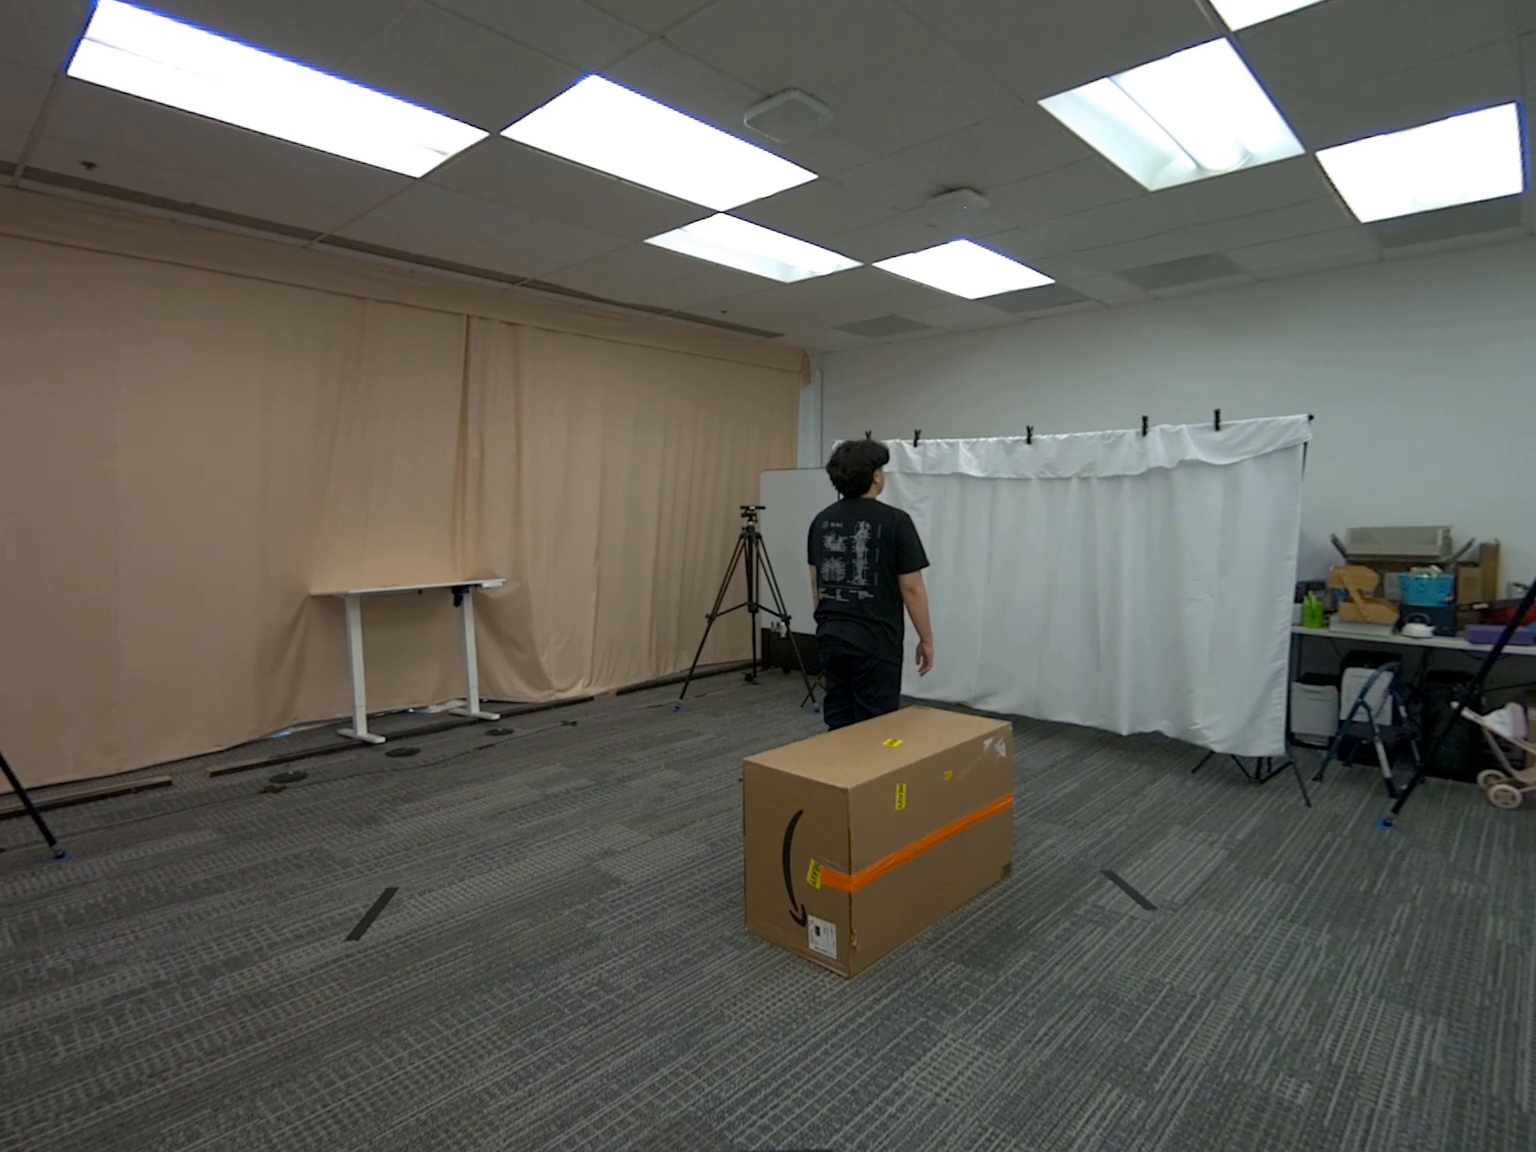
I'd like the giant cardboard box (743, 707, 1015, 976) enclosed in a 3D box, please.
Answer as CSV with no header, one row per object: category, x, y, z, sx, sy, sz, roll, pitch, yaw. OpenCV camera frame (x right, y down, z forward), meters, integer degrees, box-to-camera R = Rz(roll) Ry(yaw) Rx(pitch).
giant cardboard box,0.425,0.861,2.952,0.462,0.582,0.996,5,7,43
